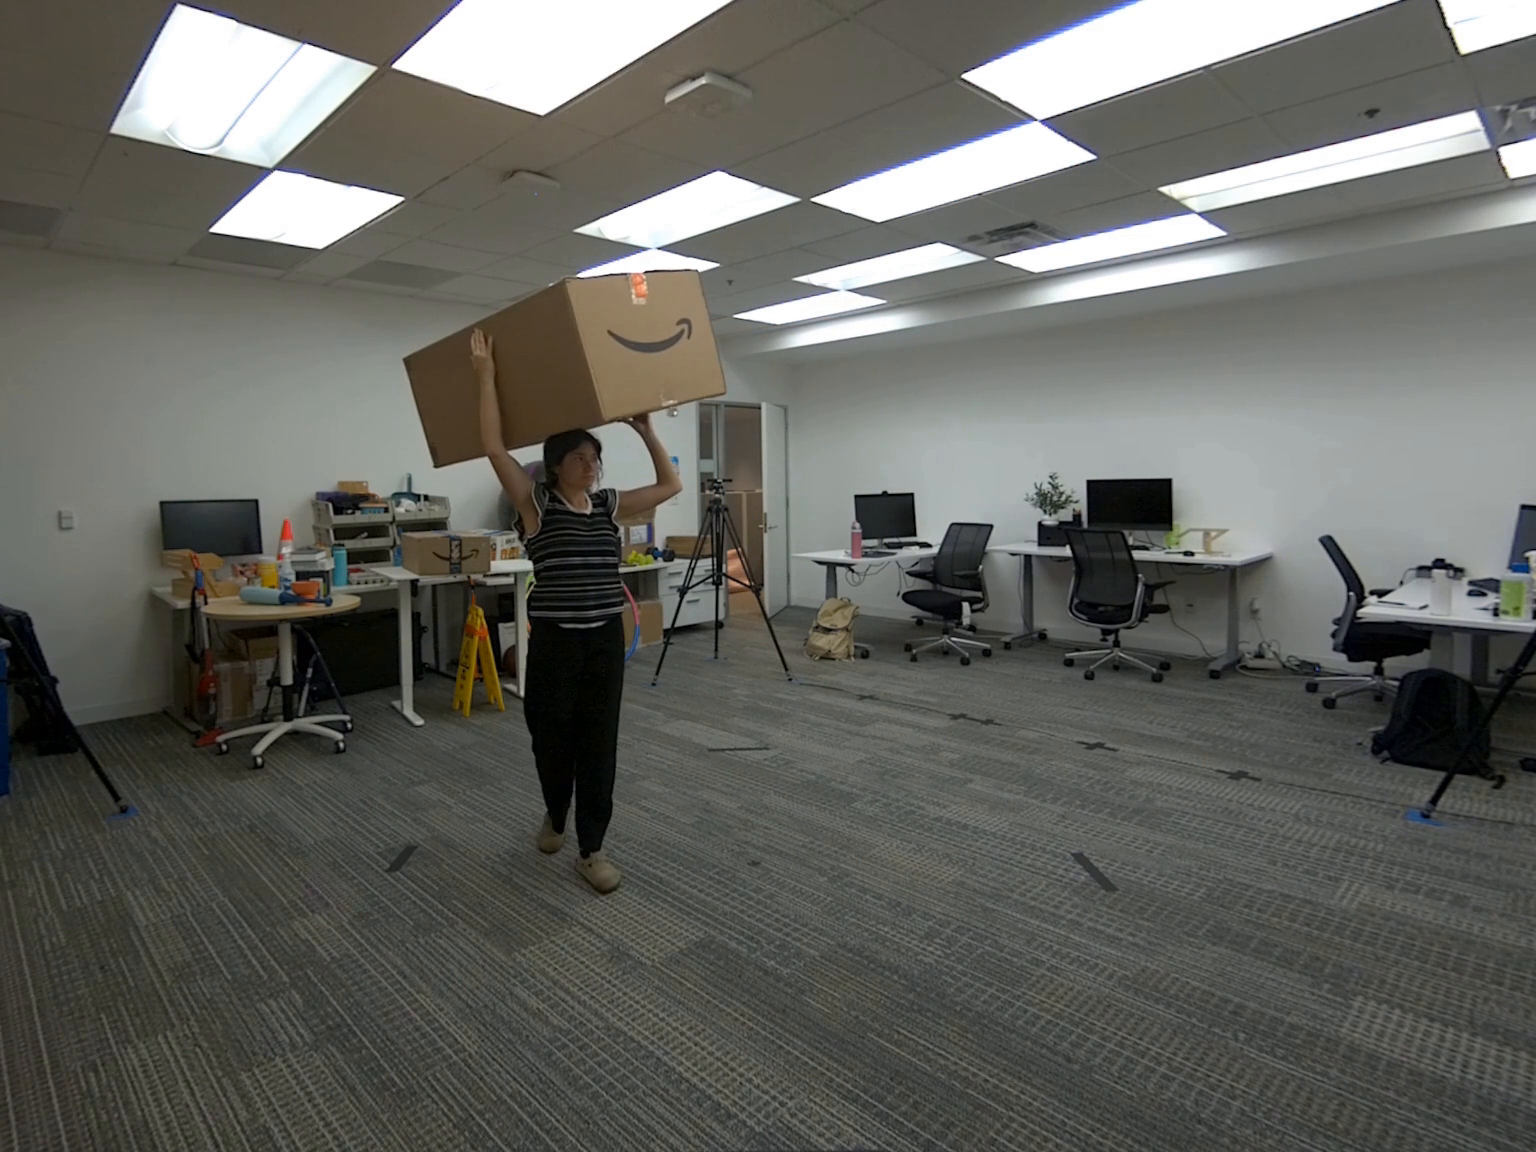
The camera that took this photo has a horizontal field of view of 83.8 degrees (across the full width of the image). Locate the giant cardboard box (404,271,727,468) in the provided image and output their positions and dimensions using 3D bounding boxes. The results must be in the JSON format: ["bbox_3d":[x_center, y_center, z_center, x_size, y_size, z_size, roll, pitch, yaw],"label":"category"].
[{"bbox_3d":[-0.741,-0.709,3.022,1.053,0.422,0.568,-4,14,42],"label":"giant cardboard box"}]
